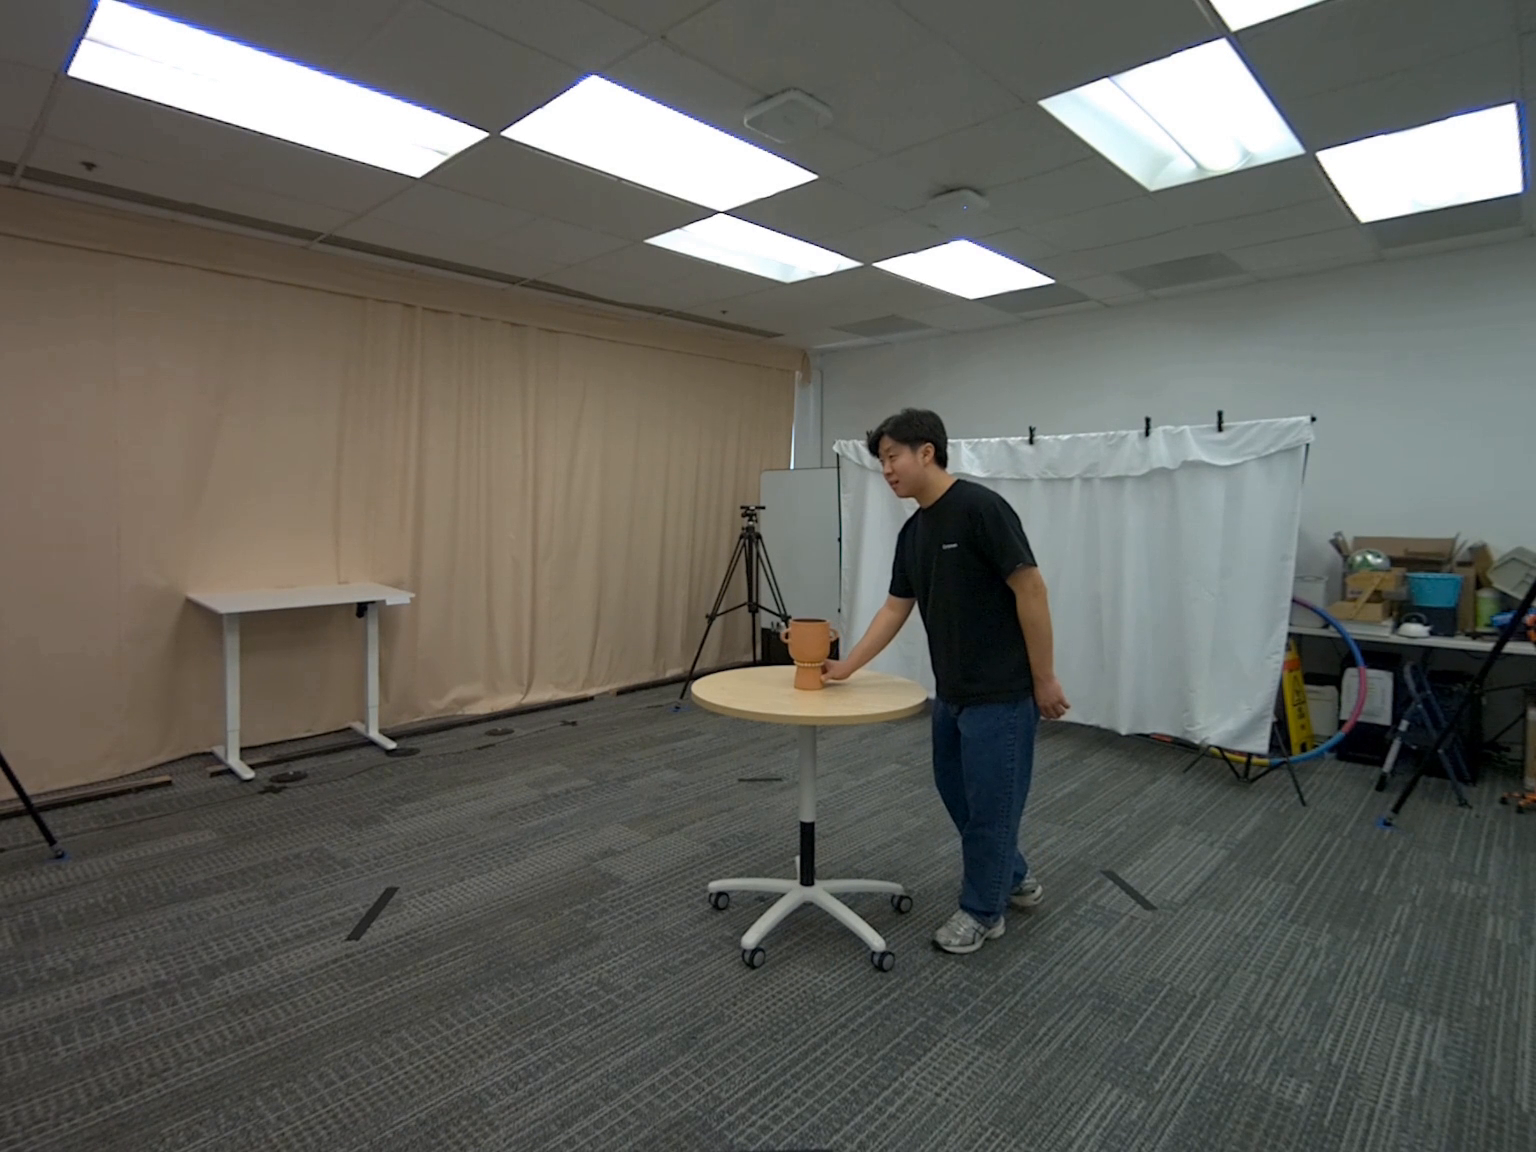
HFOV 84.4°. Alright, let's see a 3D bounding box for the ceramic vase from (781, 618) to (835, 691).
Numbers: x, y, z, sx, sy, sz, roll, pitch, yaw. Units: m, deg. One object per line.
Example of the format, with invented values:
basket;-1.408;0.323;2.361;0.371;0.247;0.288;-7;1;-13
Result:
ceramic vase;0.144;0.259;2.761;0.162;0.219;0.131;2;2;22
